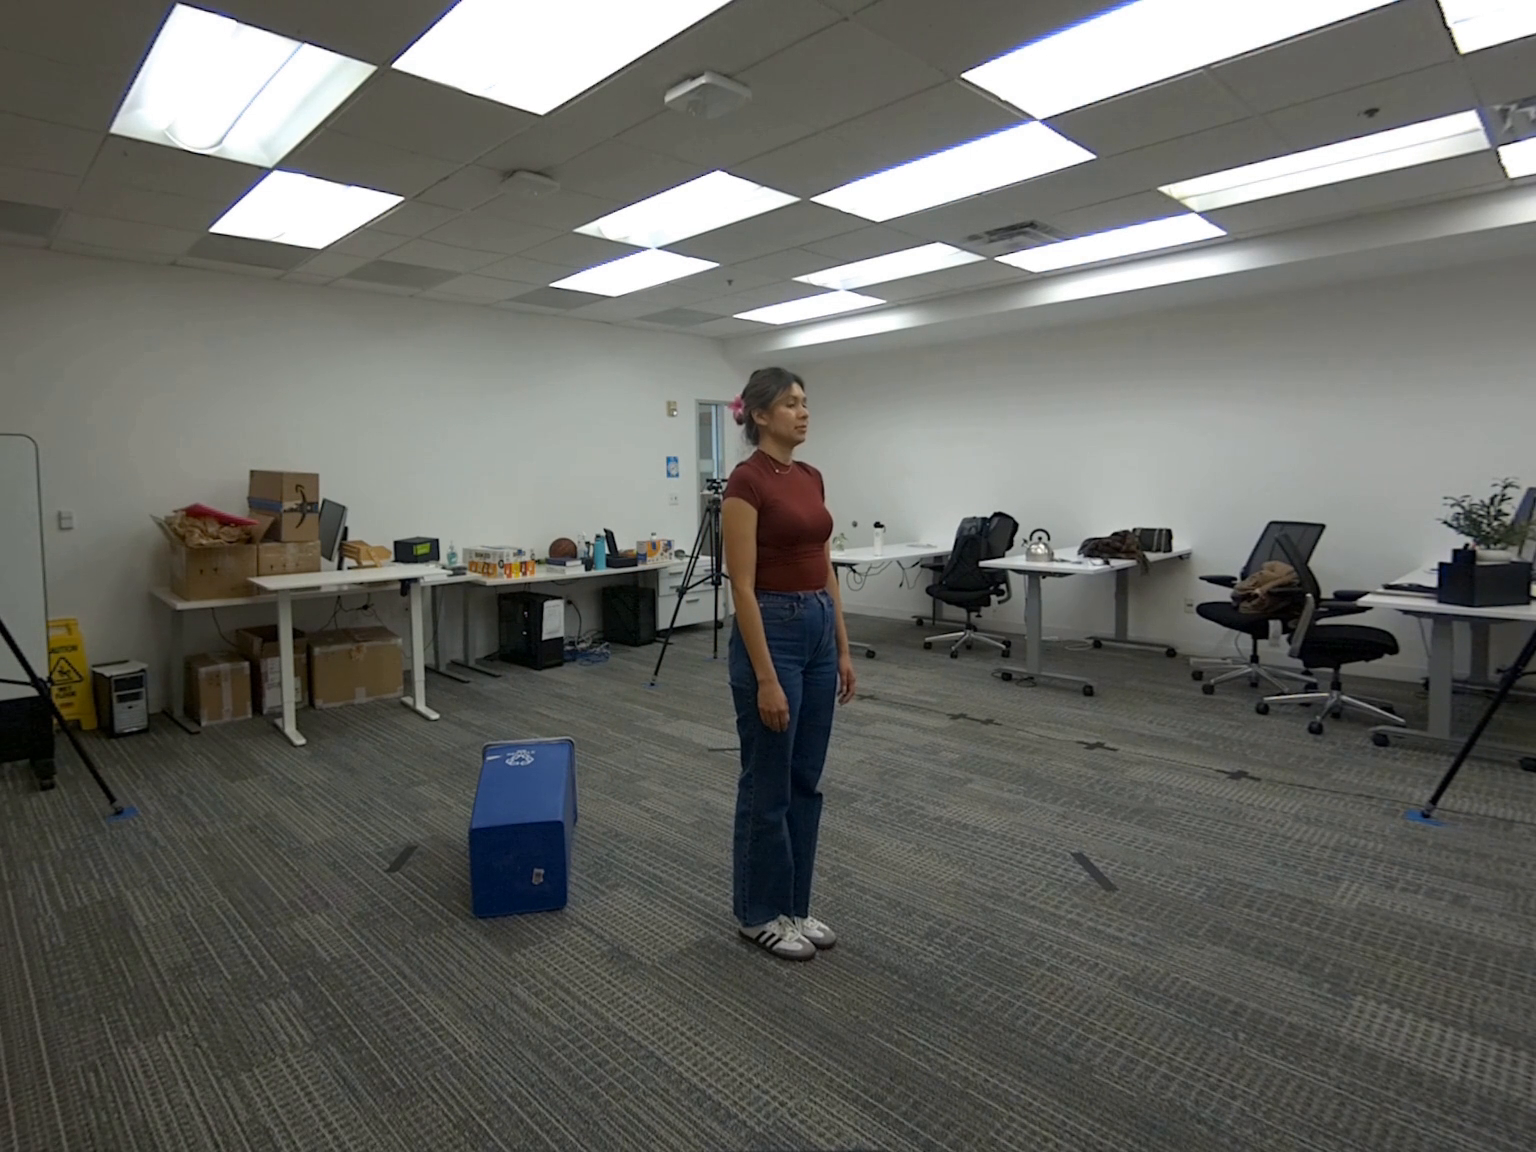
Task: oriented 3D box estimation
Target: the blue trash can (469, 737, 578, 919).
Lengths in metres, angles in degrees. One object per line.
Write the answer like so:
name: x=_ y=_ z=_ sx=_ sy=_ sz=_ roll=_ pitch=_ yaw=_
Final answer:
blue trash can: x=-0.876 y=0.893 z=3.105 sx=0.370 sy=0.375 sz=0.726 roll=-2 pitch=8 yaw=-13
